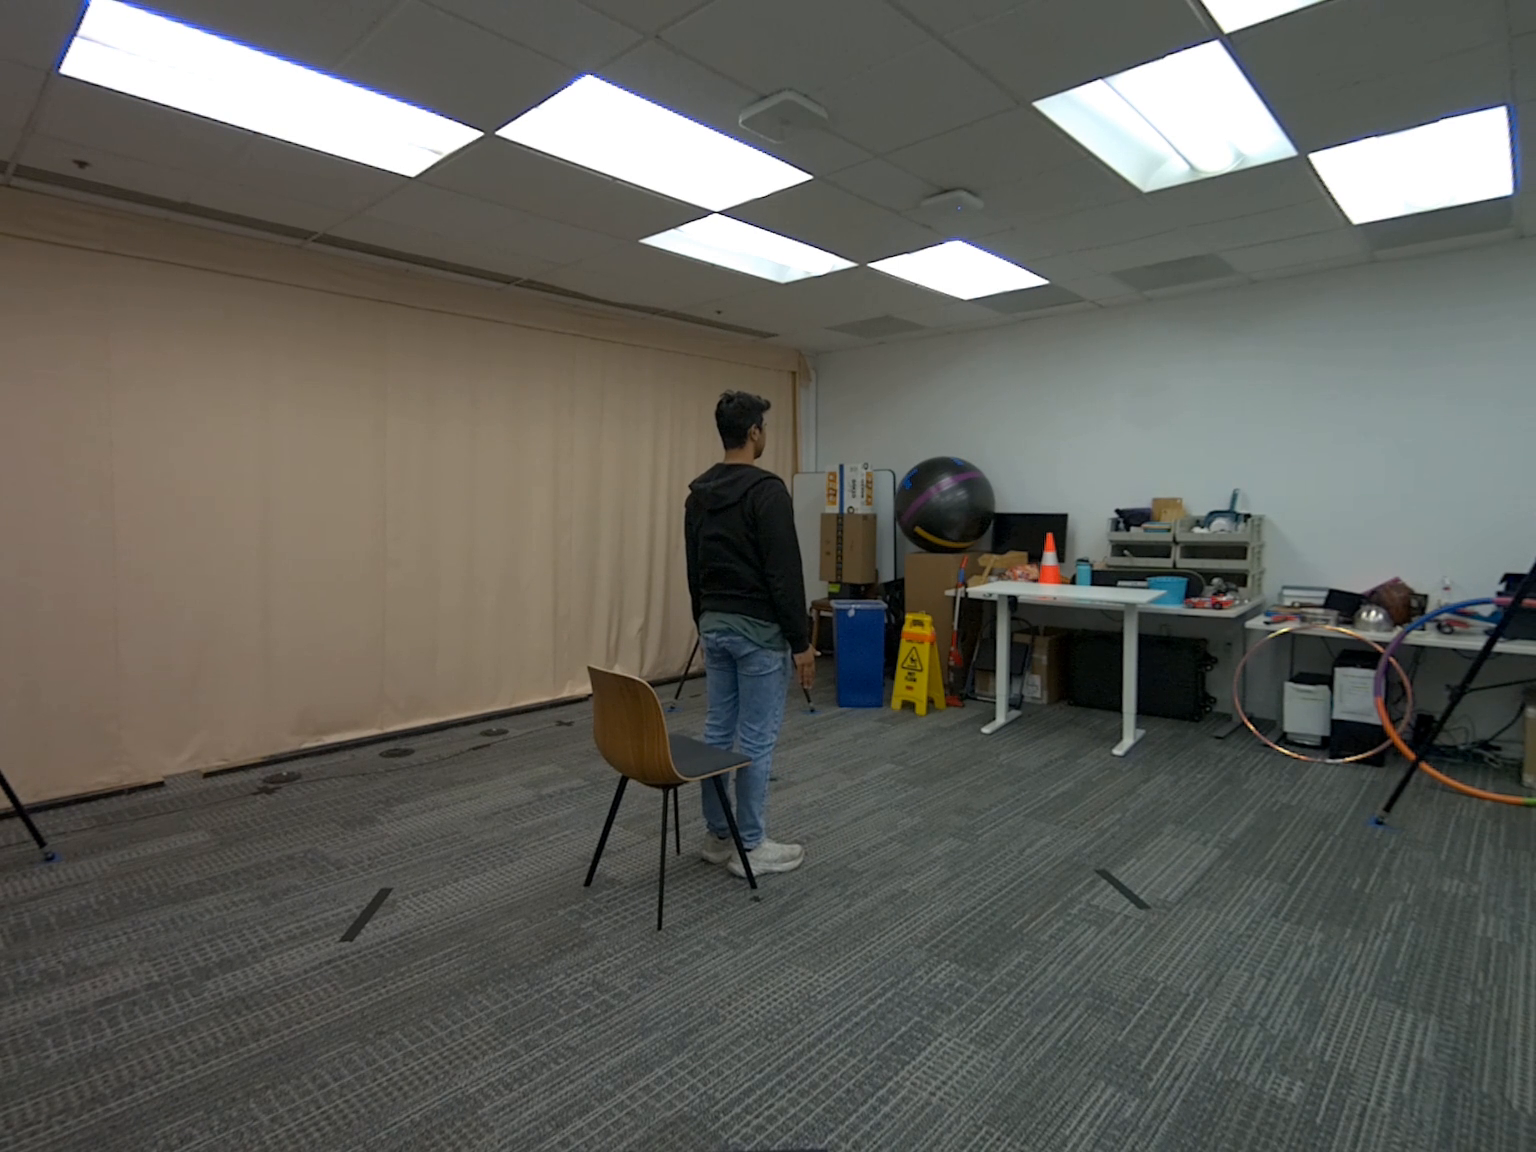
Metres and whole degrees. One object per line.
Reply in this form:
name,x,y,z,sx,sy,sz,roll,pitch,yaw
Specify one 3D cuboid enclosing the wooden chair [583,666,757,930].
wooden chair,-0.357,0.718,3.048,0.508,0.874,0.494,-9,8,-43
